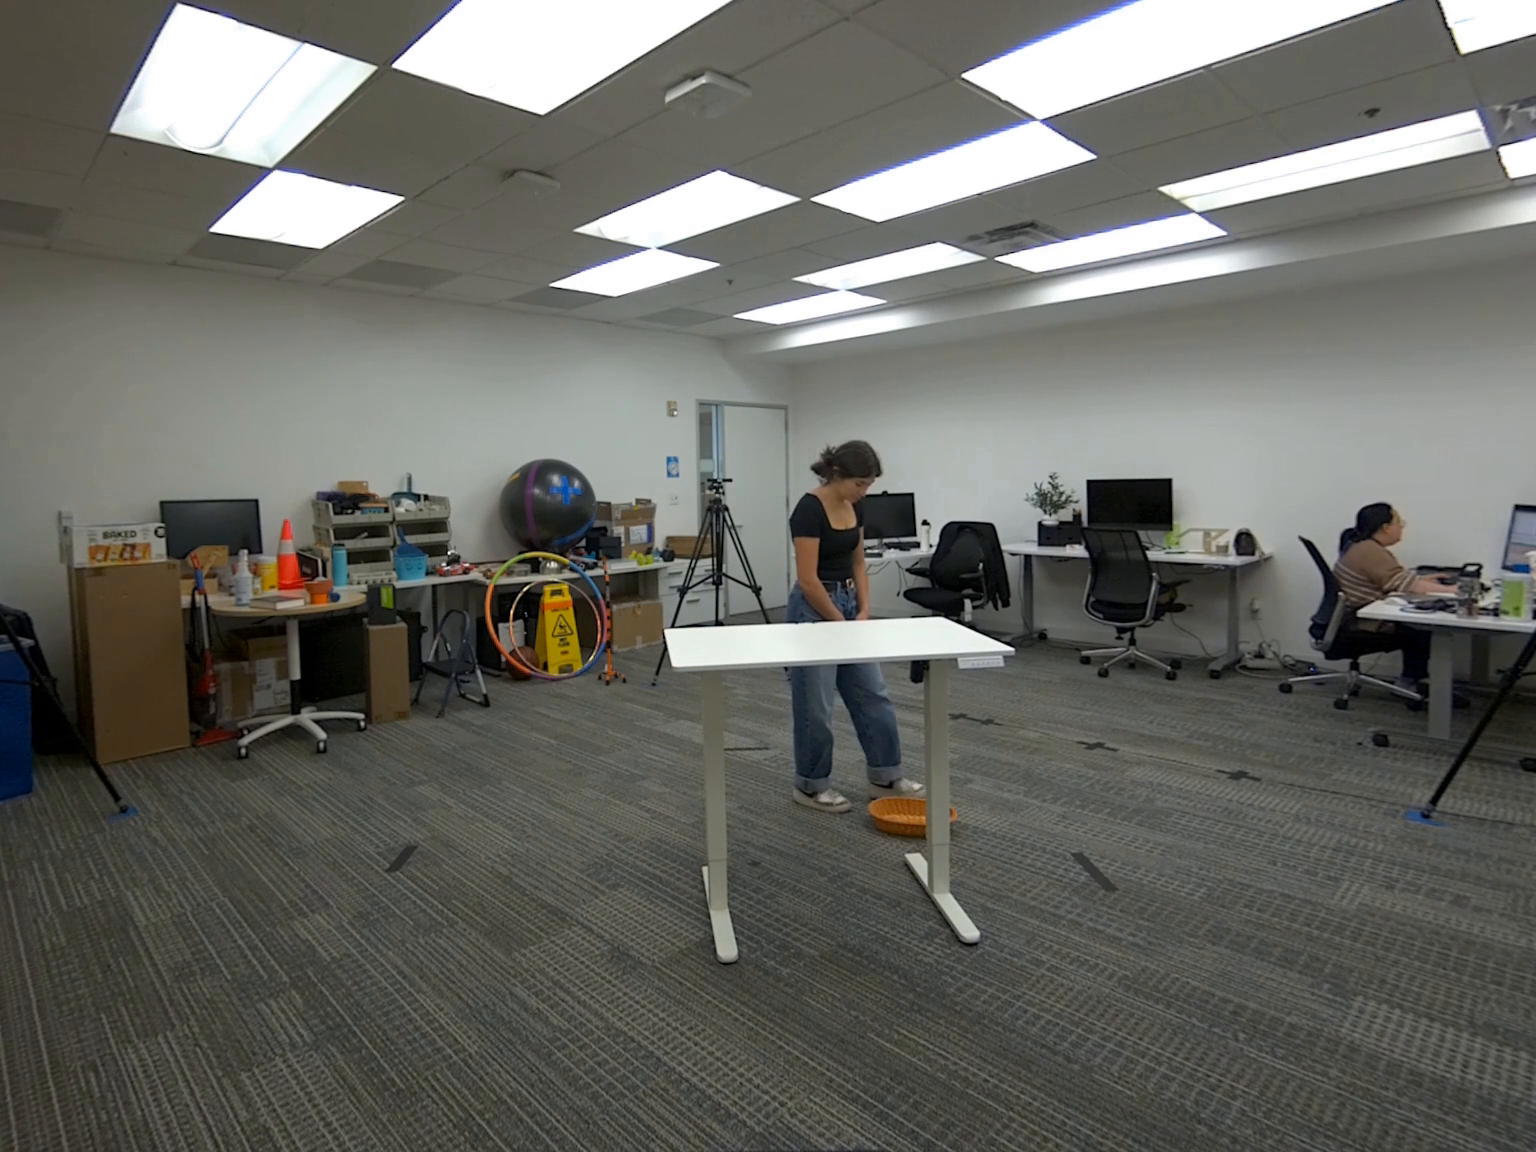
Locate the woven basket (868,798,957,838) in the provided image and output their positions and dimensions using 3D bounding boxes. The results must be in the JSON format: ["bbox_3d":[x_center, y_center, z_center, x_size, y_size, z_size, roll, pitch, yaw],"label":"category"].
[{"bbox_3d":[0.569,0.962,3.398,0.355,0.073,0.250,1,7,14],"label":"woven basket"}]
